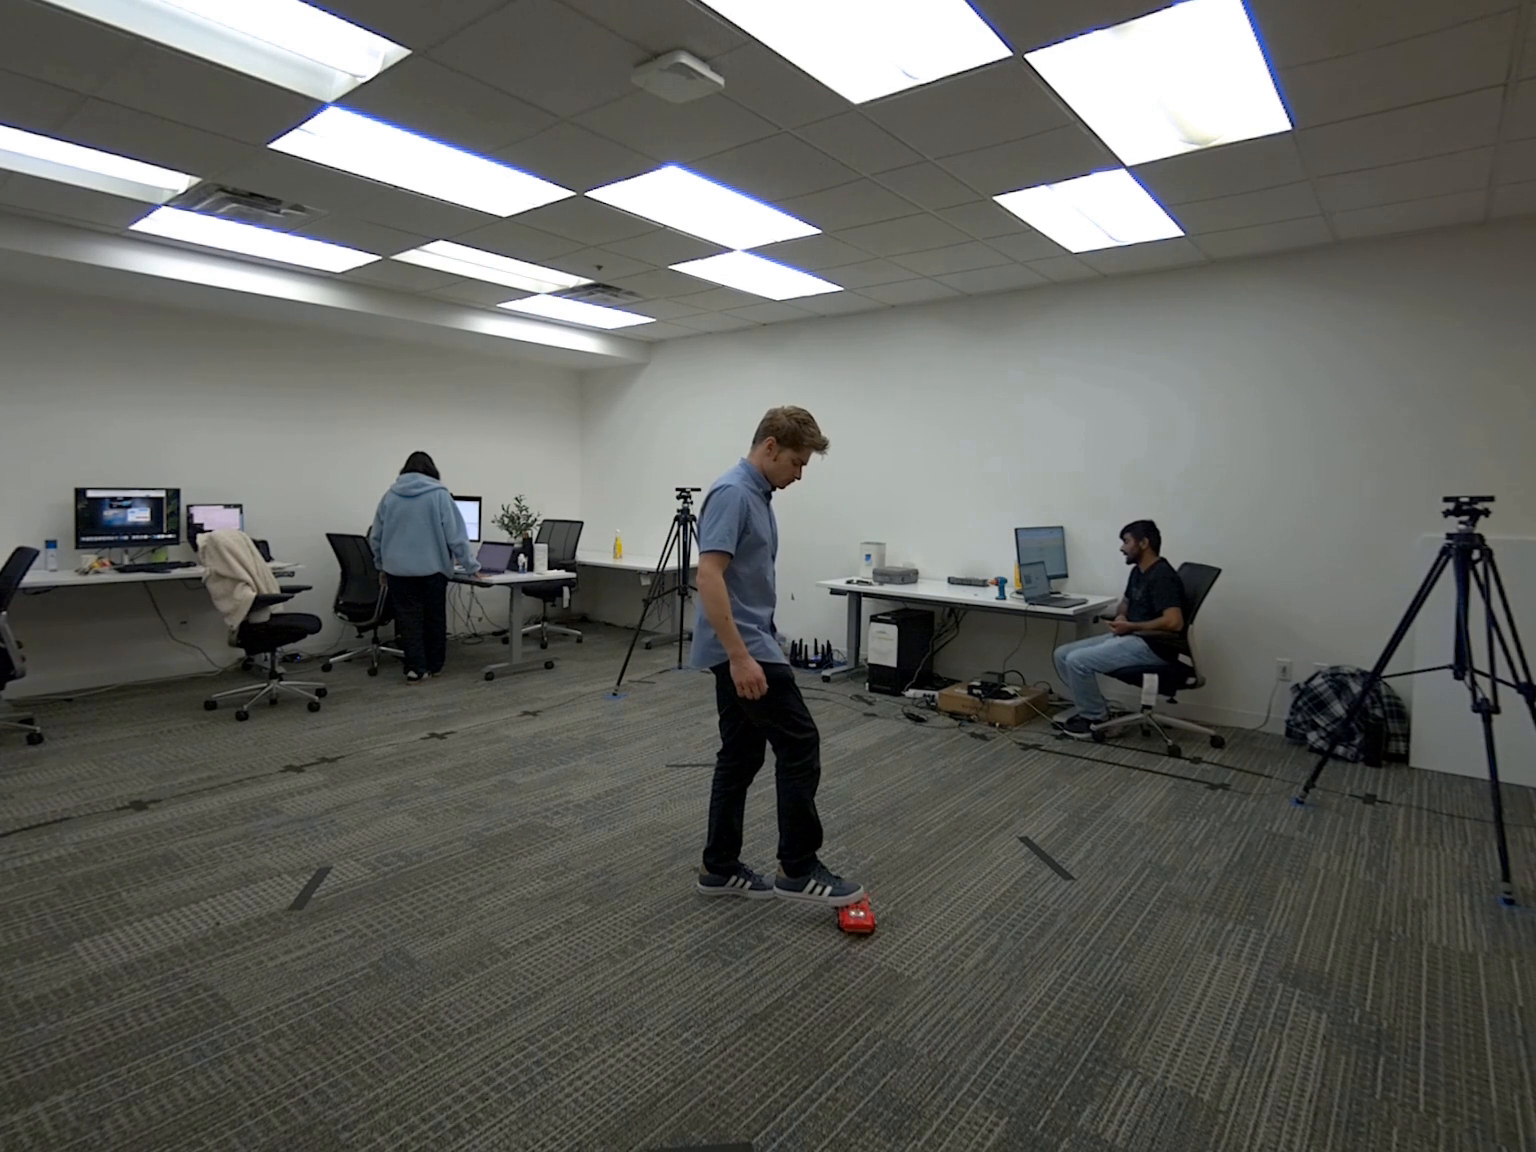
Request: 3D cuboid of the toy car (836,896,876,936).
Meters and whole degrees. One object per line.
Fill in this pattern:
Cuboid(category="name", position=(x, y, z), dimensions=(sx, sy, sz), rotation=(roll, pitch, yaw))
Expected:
Cuboid(category="toy car", position=(0.276, 1.086, 2.742), dimensions=(0.130, 0.084, 0.252), rotation=(1, -6, -1))
